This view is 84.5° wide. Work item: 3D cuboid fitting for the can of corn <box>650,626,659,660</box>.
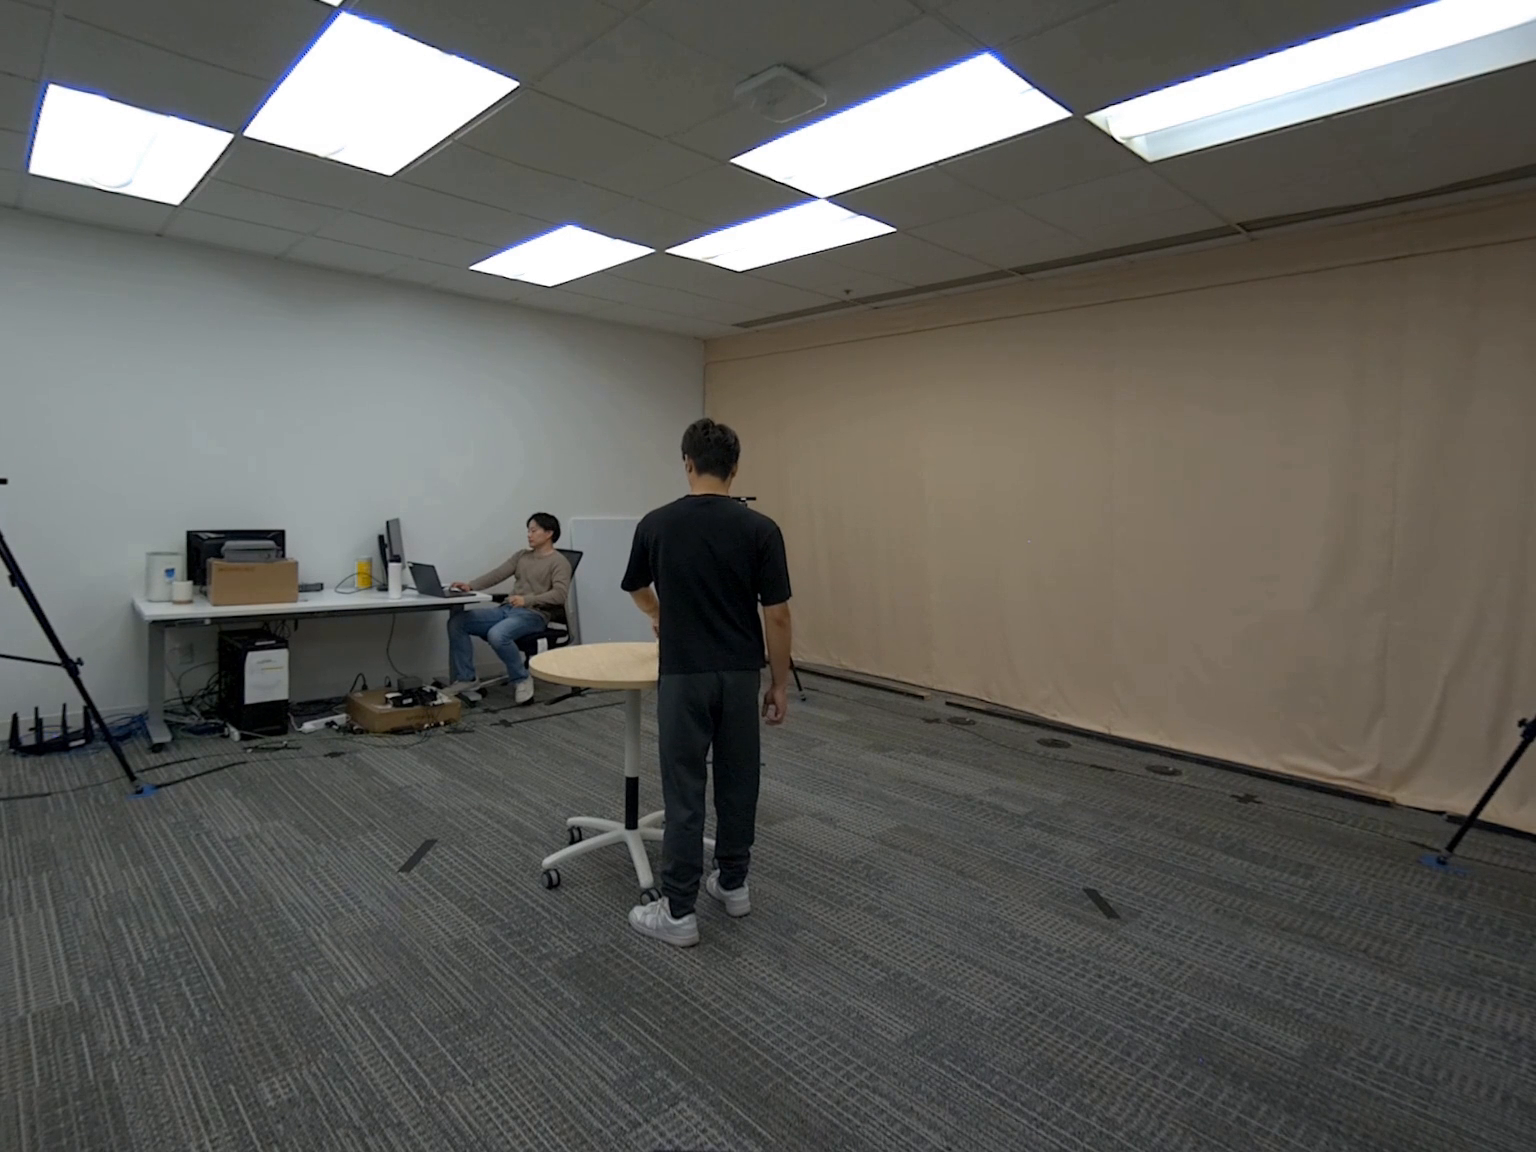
[{"bbox_3d":[-0.404,0.251,3.205,0.074,0.110,0.074,-1,6,-1],"label":"can of corn"}]
